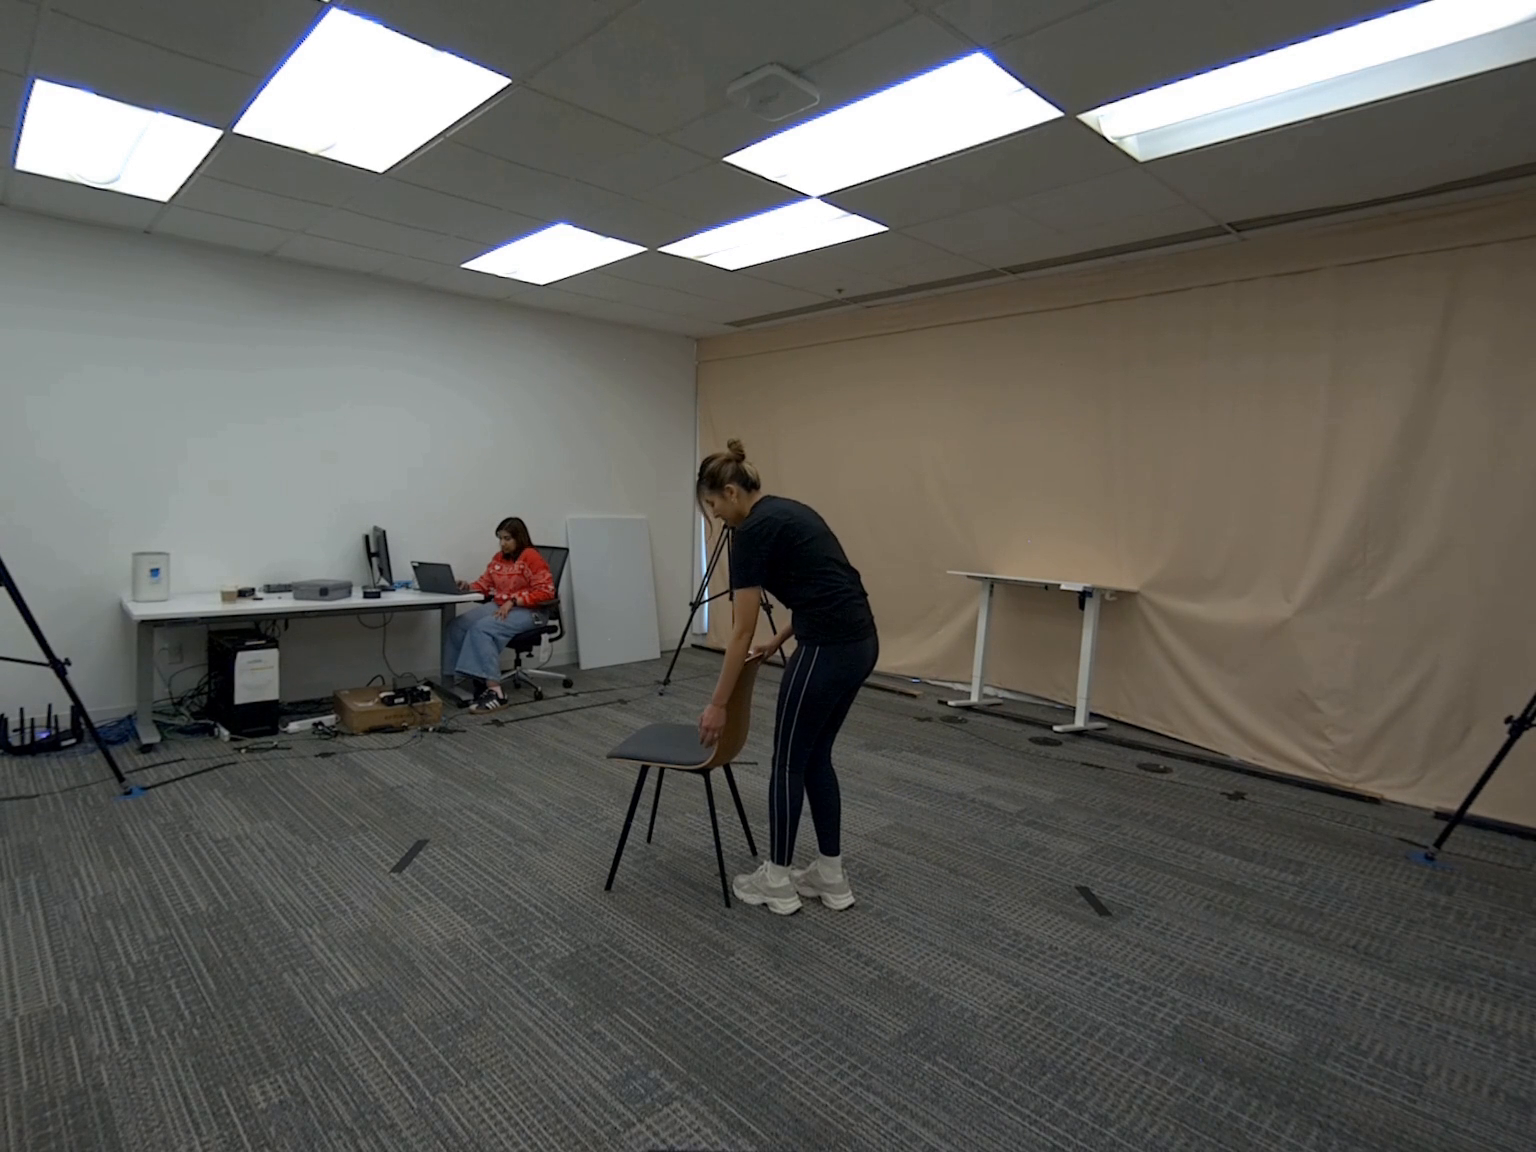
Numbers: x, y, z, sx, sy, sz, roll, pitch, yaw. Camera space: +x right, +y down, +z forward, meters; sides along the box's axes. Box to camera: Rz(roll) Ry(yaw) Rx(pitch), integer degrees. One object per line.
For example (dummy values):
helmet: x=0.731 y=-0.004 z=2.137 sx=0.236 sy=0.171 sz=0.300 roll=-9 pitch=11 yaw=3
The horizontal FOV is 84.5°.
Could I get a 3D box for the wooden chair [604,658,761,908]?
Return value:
wooden chair: x=-0.309 y=0.672 z=3.083 sx=0.529 sy=0.874 sz=0.474 roll=6 pitch=5 yaw=13
